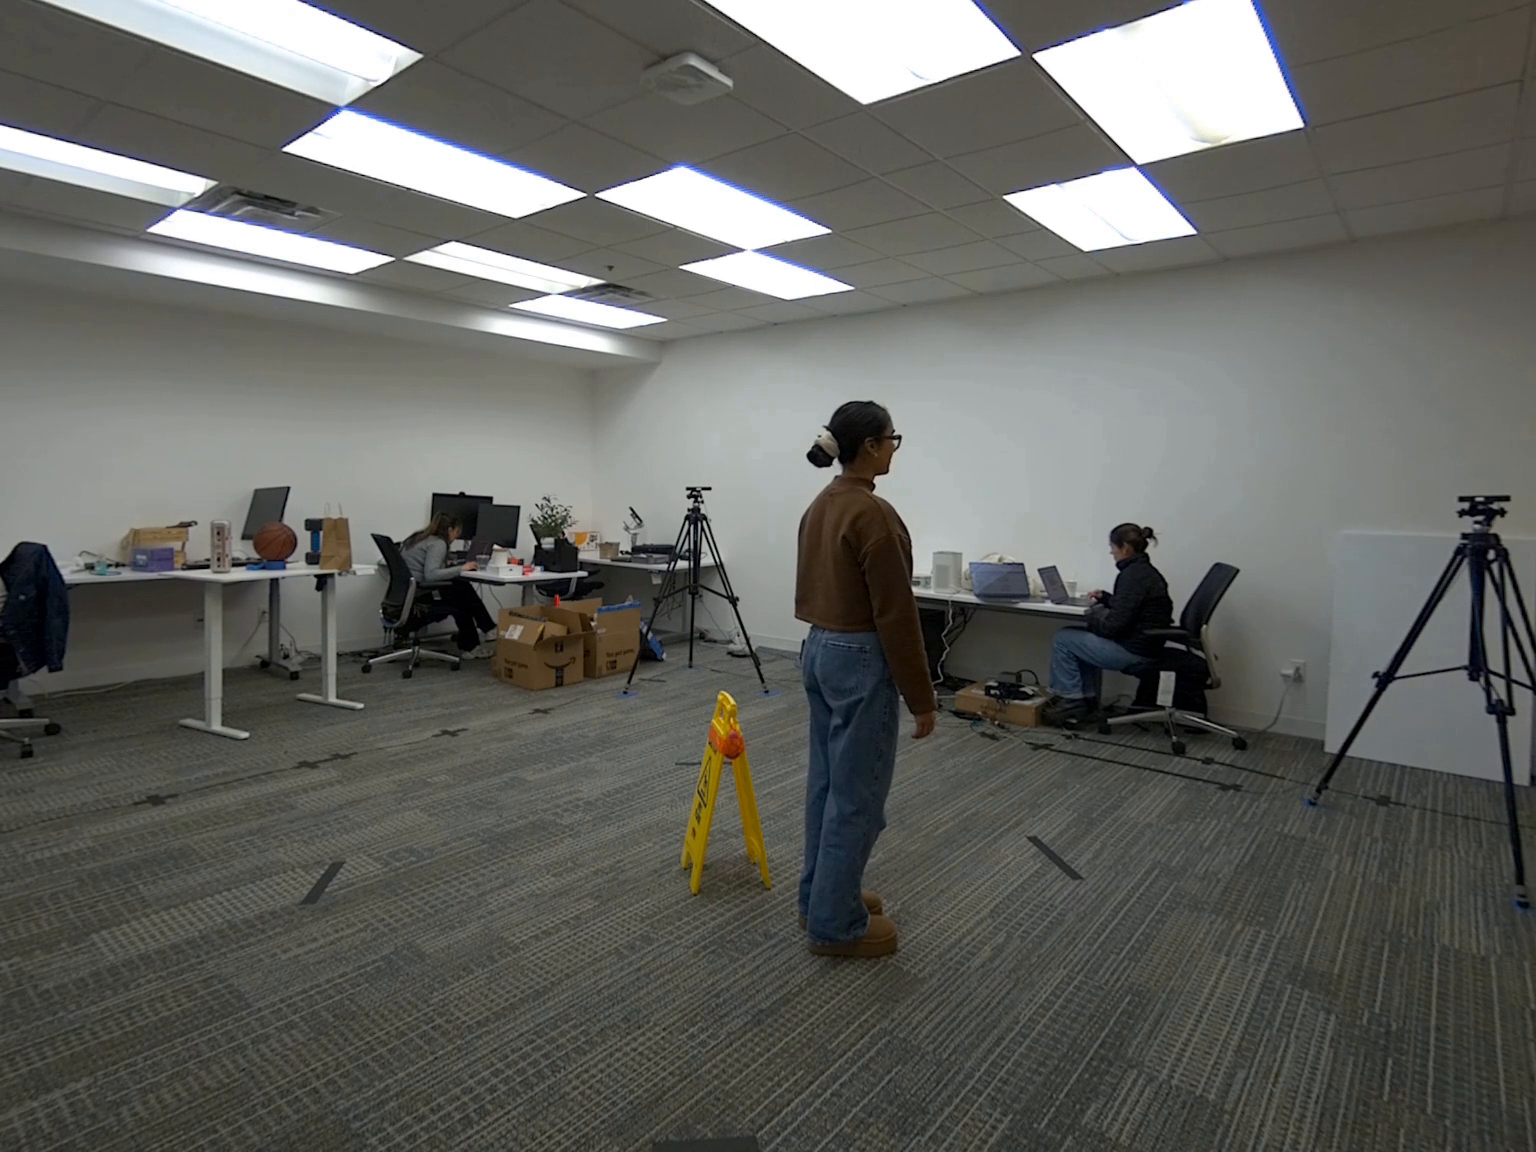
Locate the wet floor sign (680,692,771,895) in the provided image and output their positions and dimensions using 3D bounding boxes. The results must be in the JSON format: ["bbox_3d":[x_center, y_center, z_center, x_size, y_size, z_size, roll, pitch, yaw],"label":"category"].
[{"bbox_3d":[-0.159,0.747,3.045,0.286,0.644,0.287,1,4,-14],"label":"wet floor sign"}]
